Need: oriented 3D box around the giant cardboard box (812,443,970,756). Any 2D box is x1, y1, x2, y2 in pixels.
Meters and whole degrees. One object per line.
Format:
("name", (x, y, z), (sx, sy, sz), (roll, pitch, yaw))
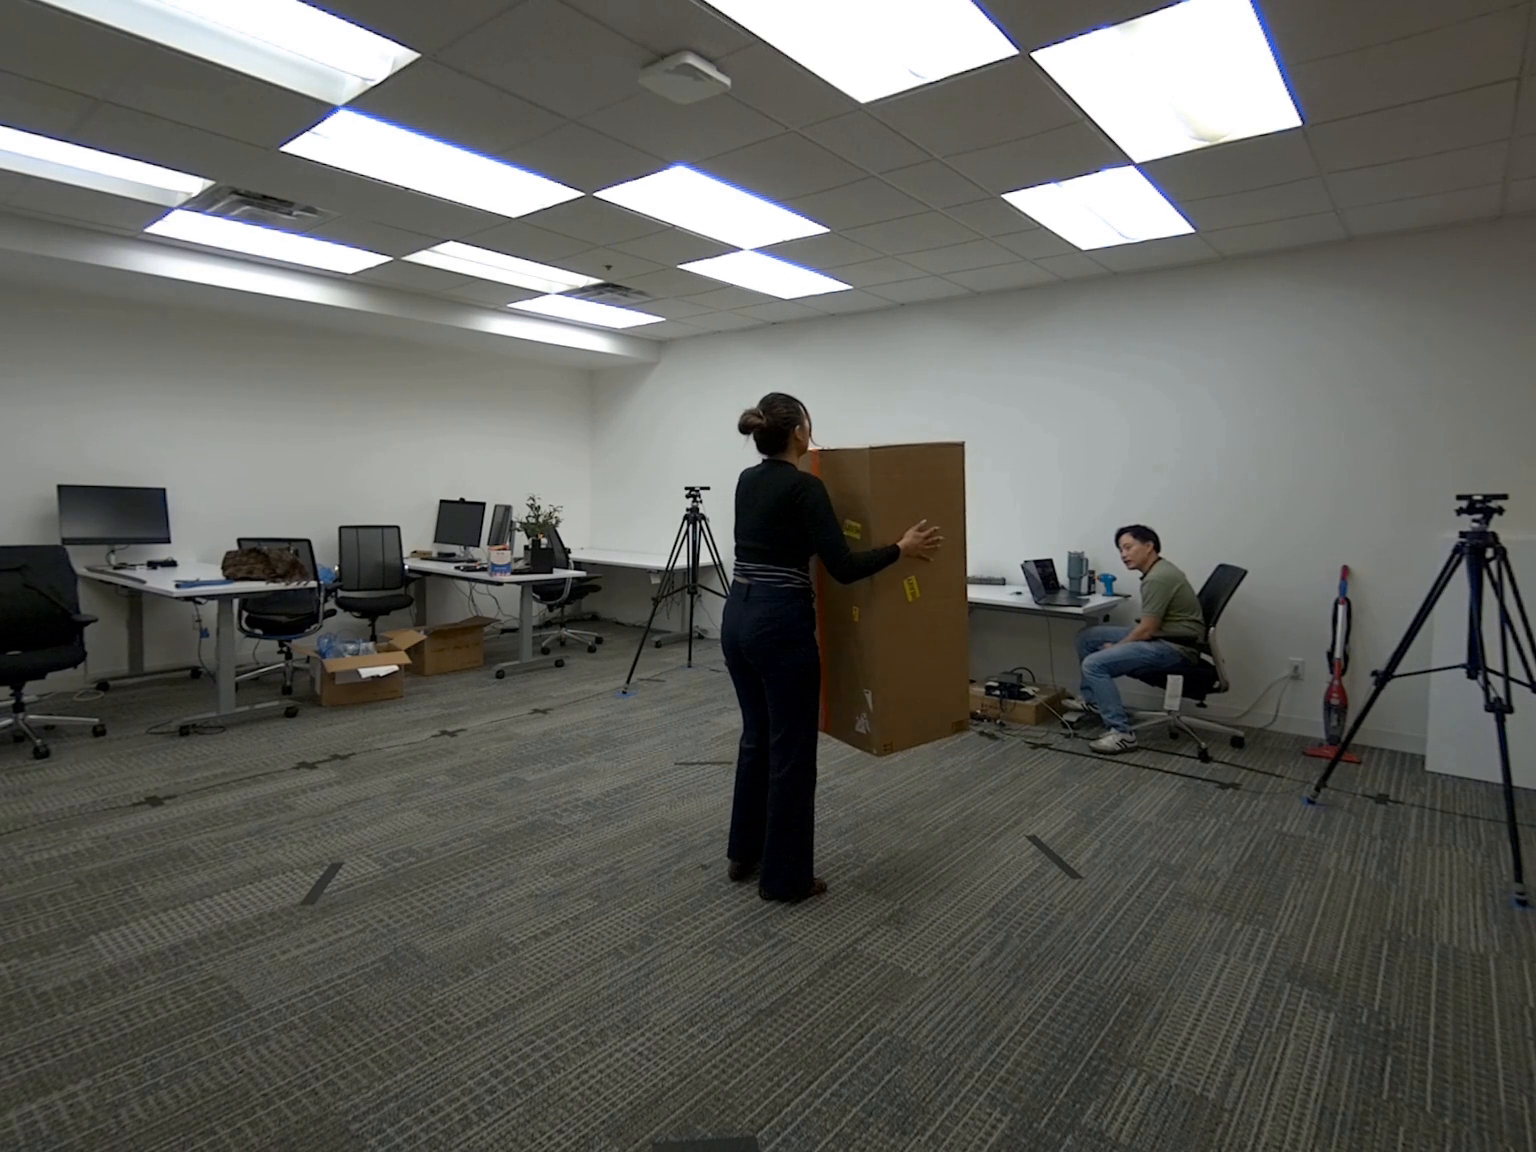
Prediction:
("giant cardboard box", (0.352, 0.038, 3.098), (0.416, 1.019, 0.596), (-6, 7, -31))
